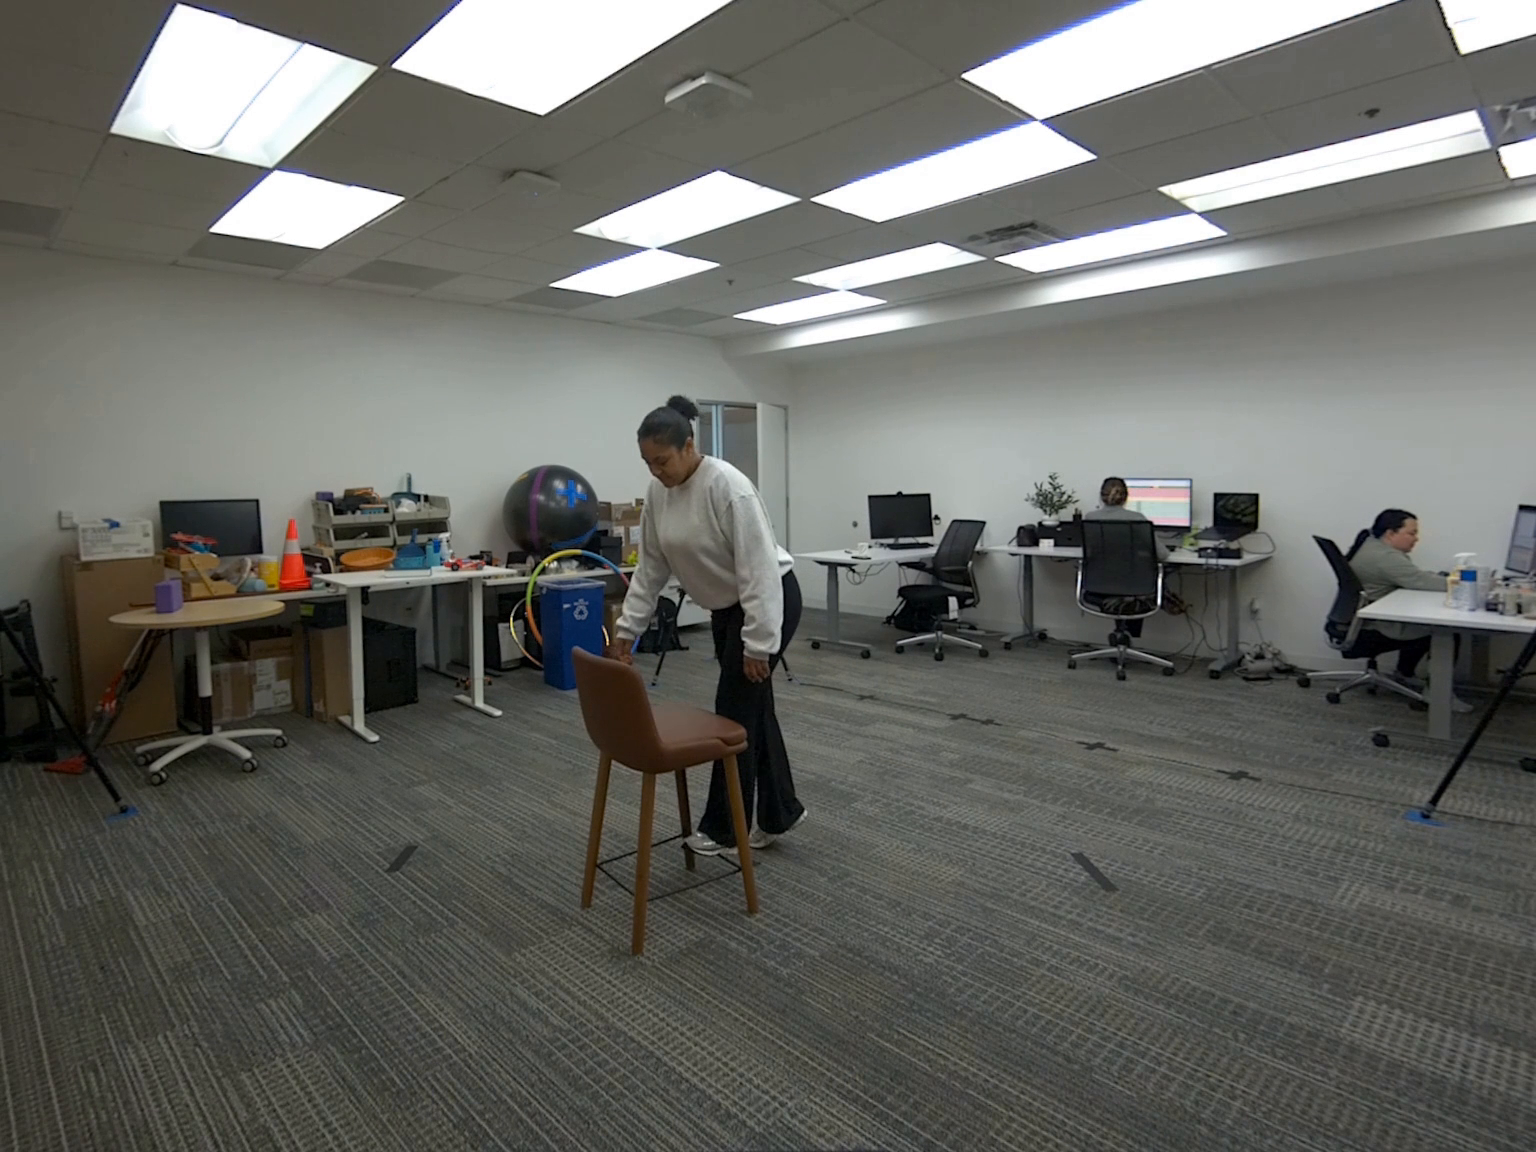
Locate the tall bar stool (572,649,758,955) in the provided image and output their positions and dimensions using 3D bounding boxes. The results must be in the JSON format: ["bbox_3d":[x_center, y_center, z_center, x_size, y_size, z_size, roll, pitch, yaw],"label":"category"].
[{"bbox_3d":[-0.338,0.655,2.758,0.456,0.885,0.470,-6,7,-36],"label":"tall bar stool"}]
